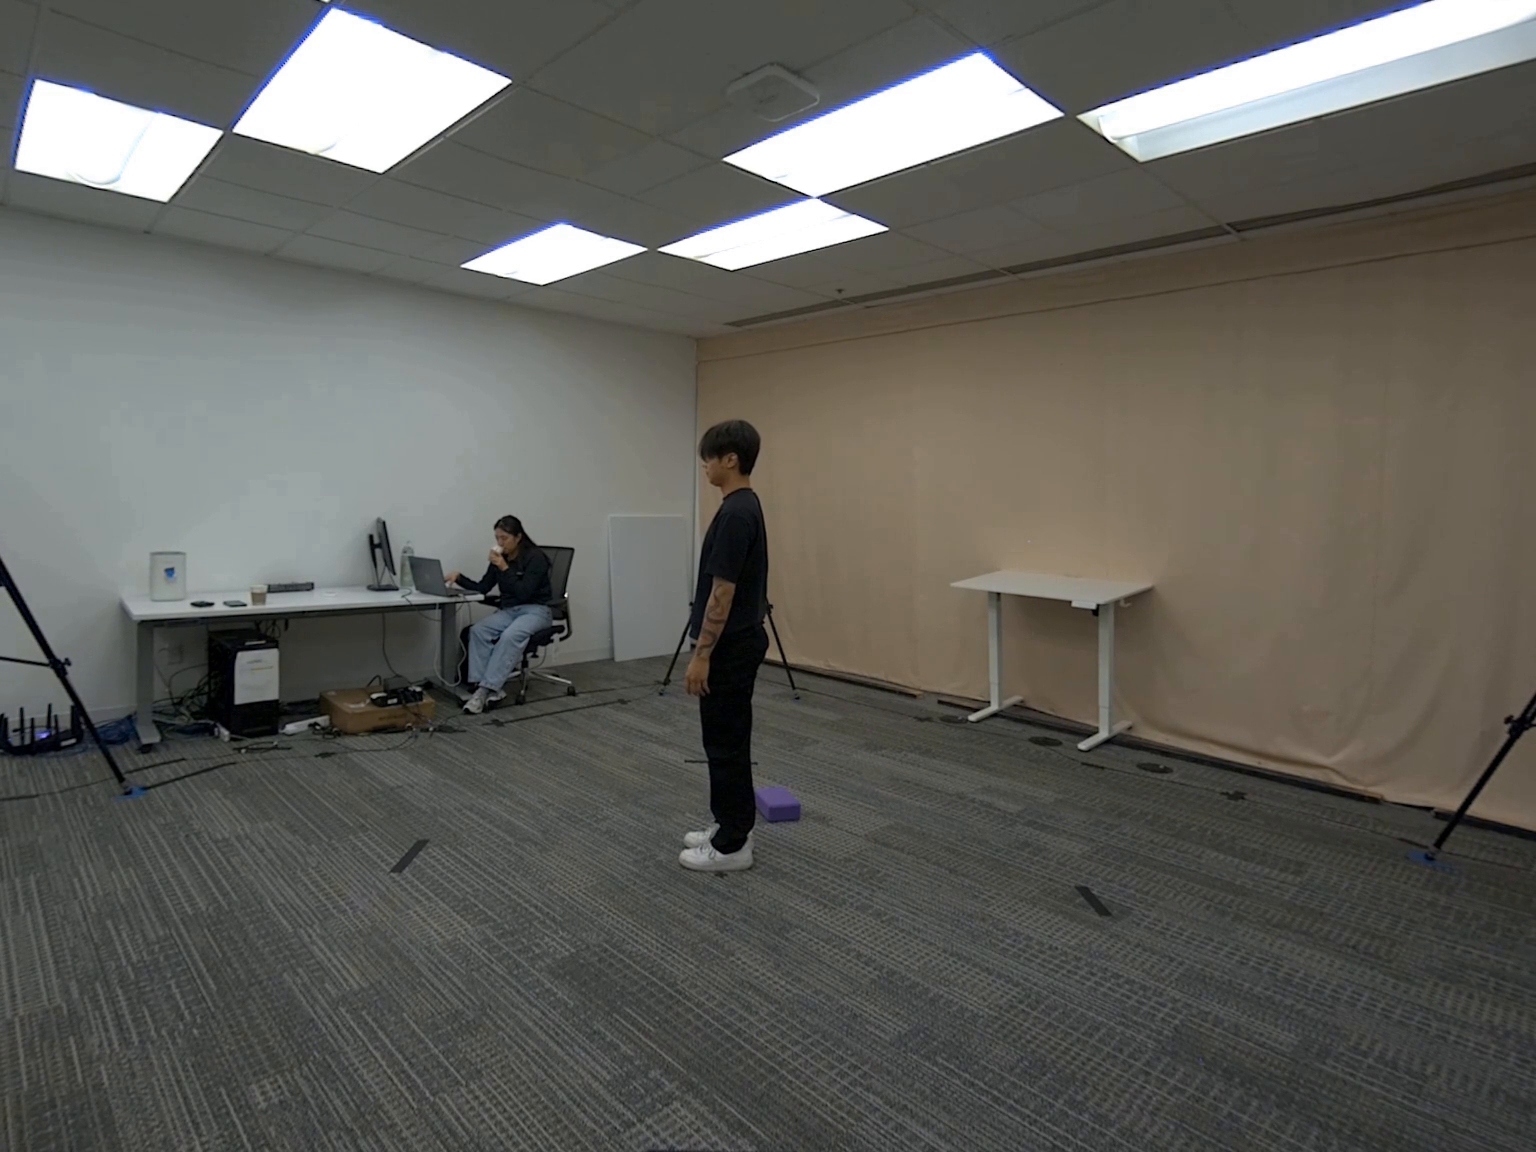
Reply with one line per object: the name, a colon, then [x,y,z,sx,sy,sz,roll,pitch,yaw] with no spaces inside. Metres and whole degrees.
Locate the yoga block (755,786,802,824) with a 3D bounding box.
yoga block: [0.028,1.013,3.746,0.147,0.076,0.233,0,6,-16]
